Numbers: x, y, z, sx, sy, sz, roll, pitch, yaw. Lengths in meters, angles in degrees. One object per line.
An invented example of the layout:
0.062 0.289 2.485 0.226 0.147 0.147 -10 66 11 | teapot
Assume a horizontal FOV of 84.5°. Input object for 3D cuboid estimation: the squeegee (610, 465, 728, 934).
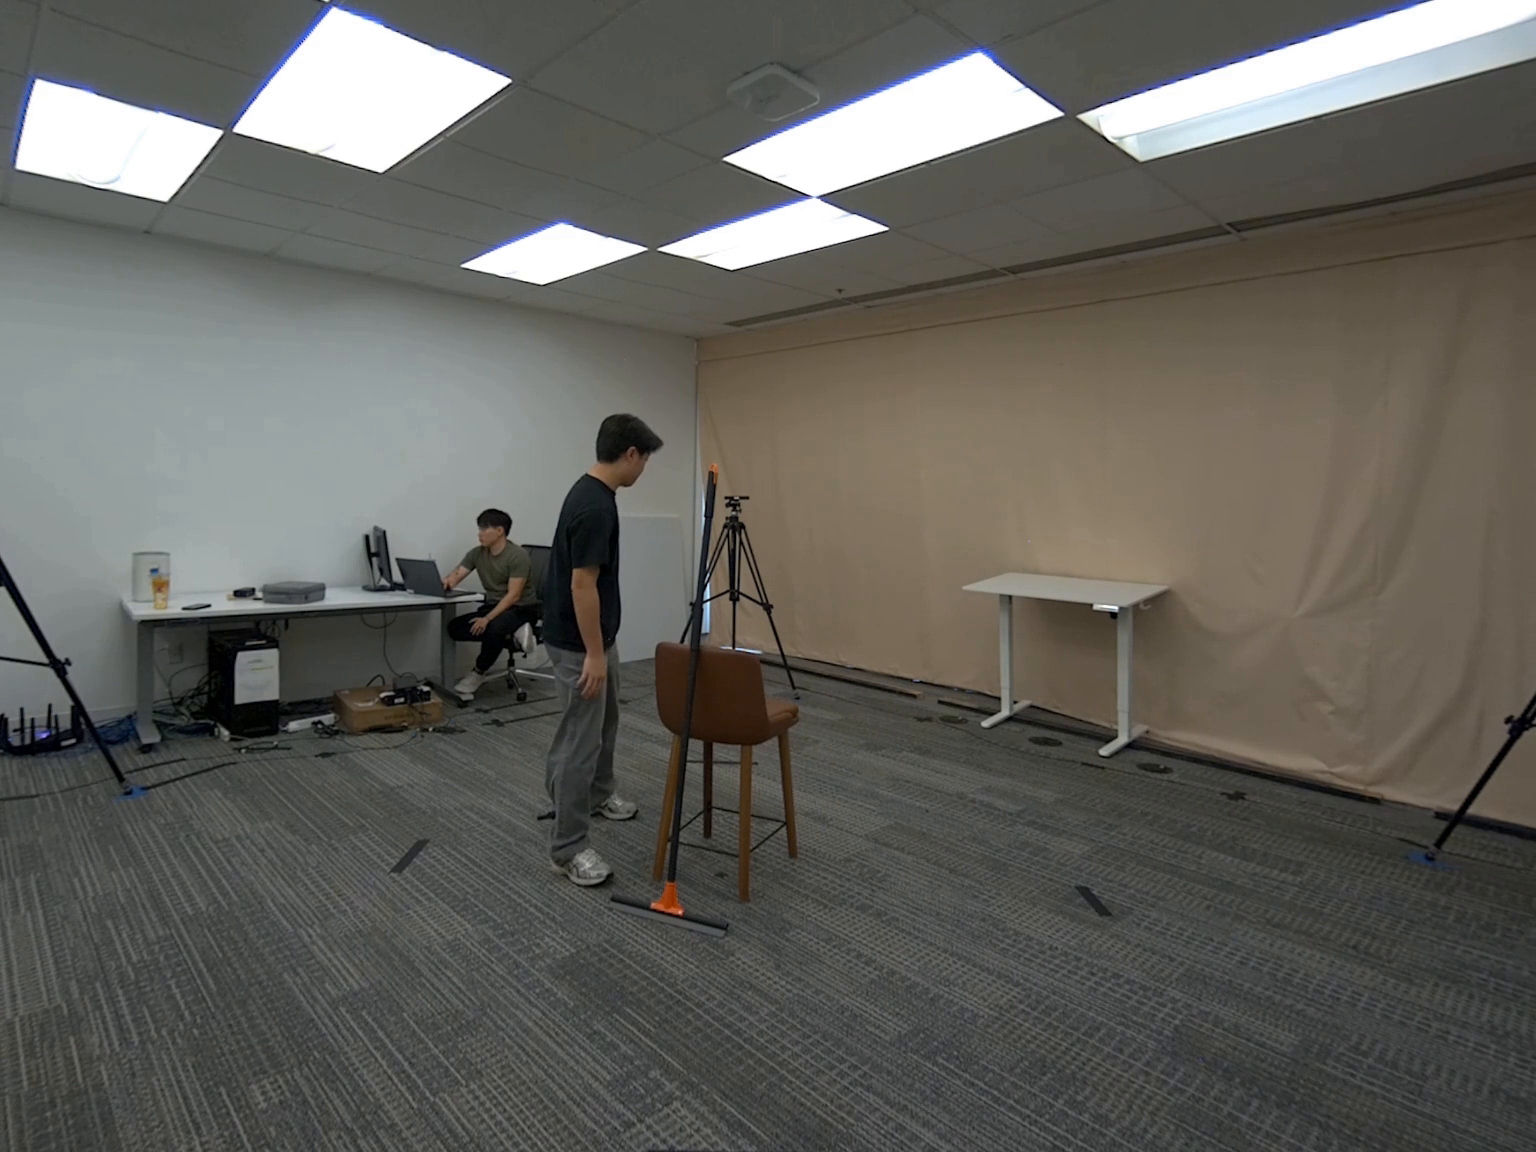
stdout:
-0.252 0.372 2.857 0.445 1.544 0.052 5 -7 21 | squeegee
